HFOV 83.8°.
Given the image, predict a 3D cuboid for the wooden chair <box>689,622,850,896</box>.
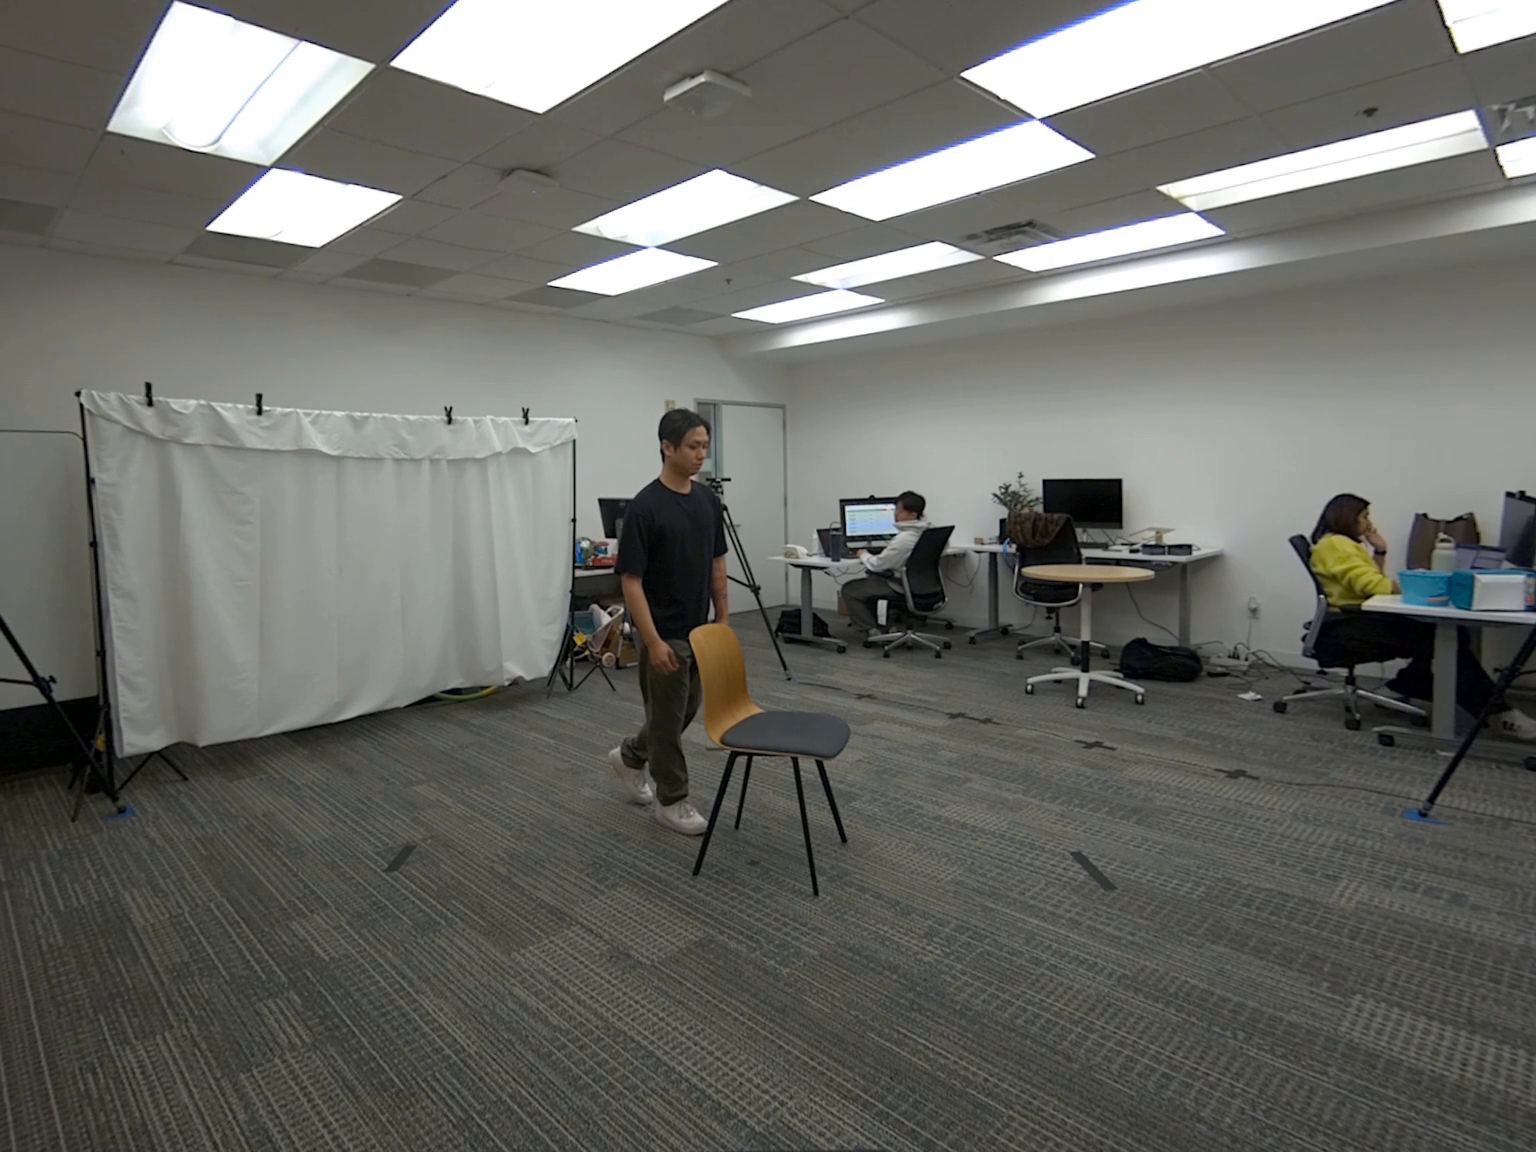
[{"bbox_3d":[0.022,0.612,3.102,0.533,0.876,0.470,-4,3,20],"label":"wooden chair"}]
